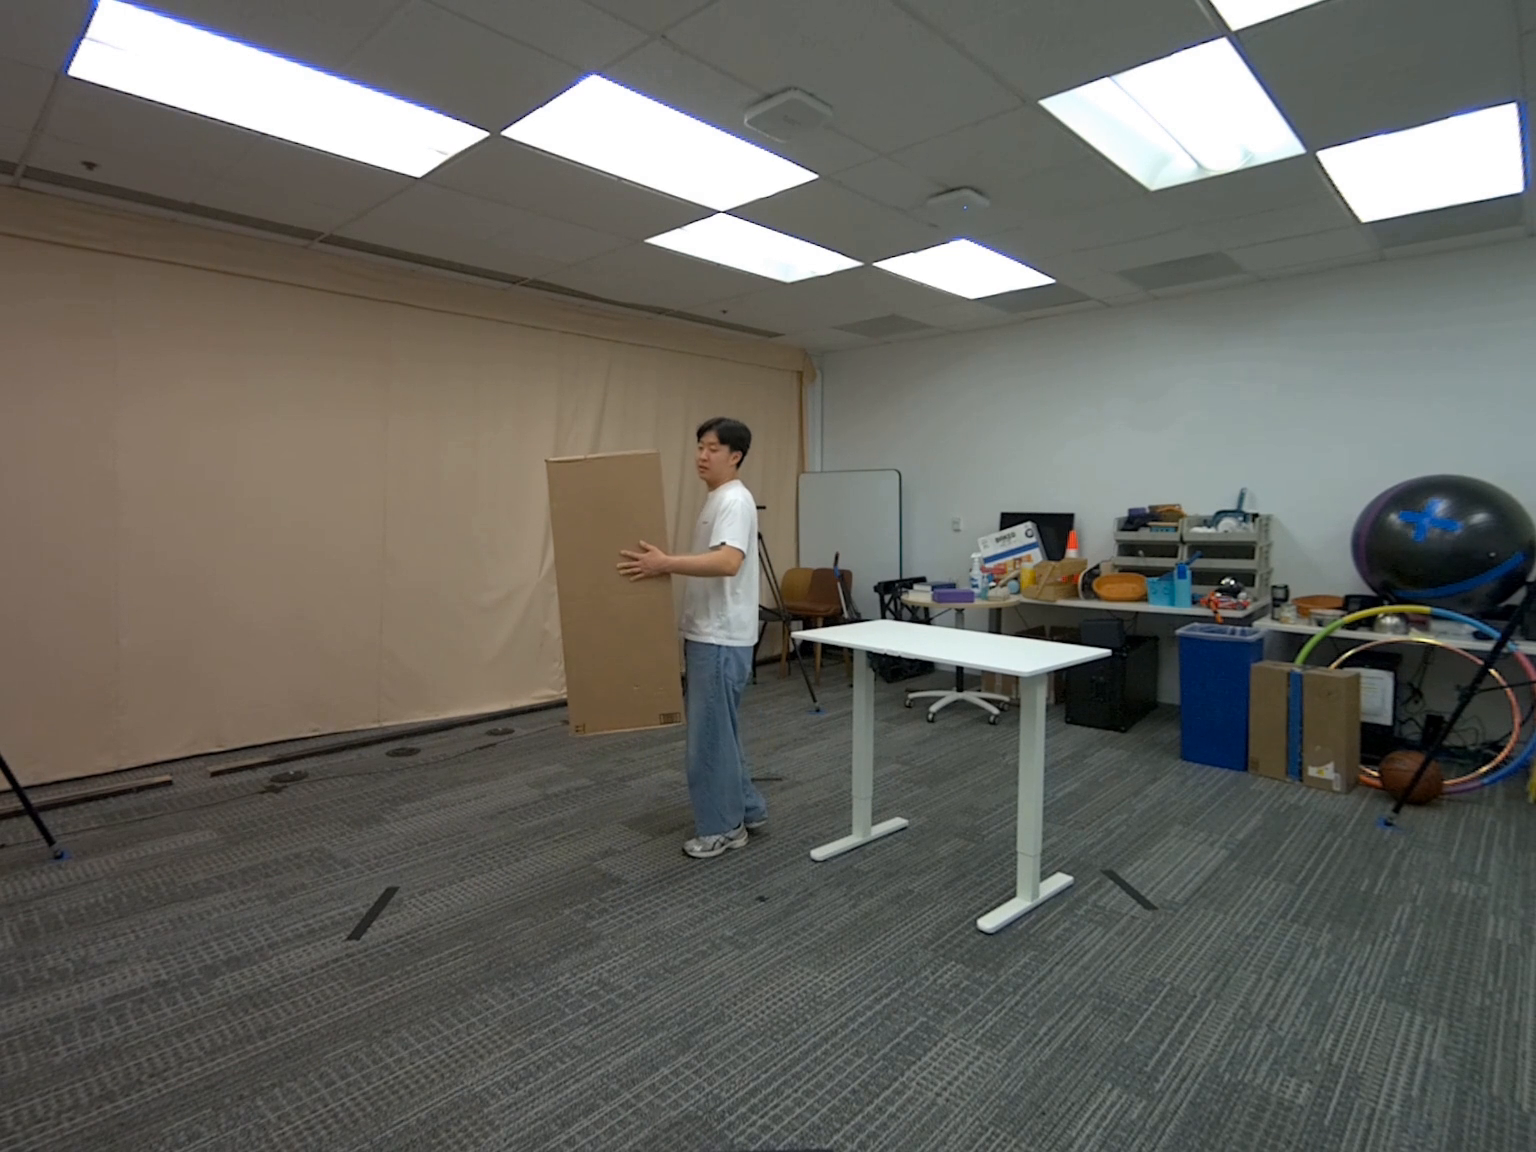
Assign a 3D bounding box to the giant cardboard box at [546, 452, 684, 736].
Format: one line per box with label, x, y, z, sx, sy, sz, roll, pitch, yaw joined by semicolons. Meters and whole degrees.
giant cardboard box;-0.613;0.056;3.366;0.423;1.026;0.582;-4;0;-9
